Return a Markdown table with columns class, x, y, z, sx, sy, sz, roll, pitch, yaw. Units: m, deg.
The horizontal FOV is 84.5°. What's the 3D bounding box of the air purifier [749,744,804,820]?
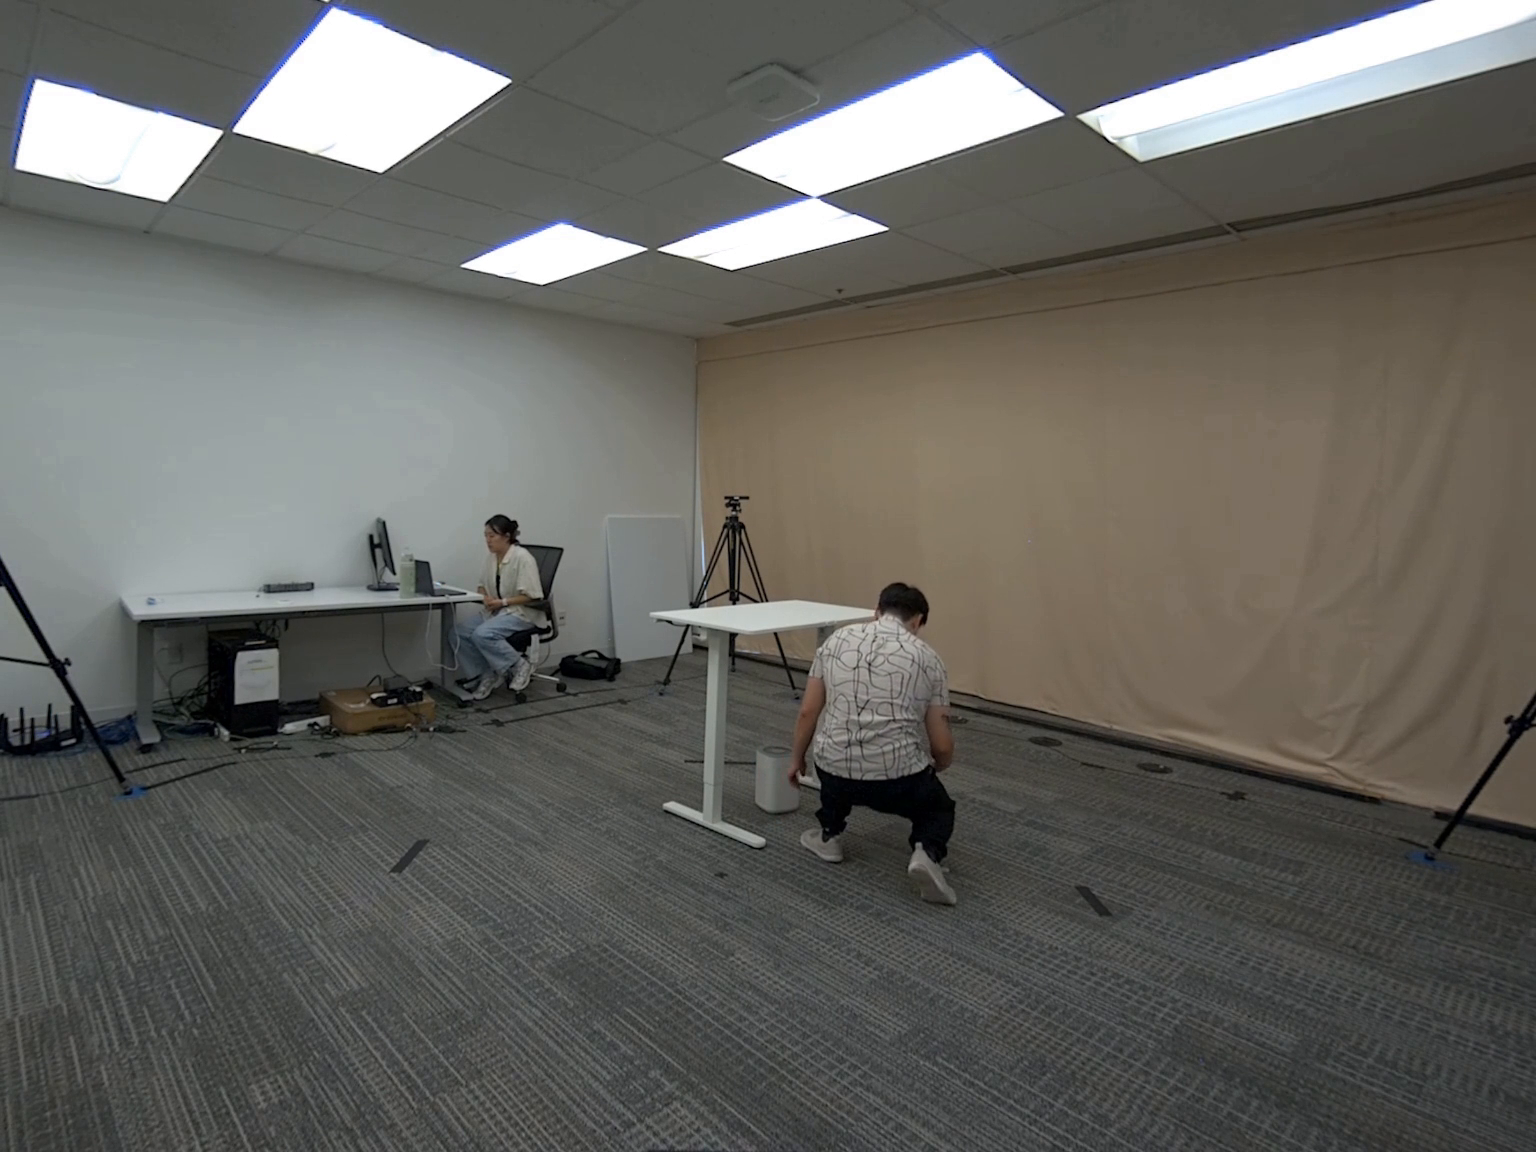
| class | x | y | z | sx | sy | sz | roll | pitch | yaw |
| --- | --- | --- | --- | --- | --- | --- | --- | --- | --- |
| air purifier | 0.038 | 0.919 | 3.797 | 0.167 | 0.265 | 0.175 | 0 | 4 | -31 |
